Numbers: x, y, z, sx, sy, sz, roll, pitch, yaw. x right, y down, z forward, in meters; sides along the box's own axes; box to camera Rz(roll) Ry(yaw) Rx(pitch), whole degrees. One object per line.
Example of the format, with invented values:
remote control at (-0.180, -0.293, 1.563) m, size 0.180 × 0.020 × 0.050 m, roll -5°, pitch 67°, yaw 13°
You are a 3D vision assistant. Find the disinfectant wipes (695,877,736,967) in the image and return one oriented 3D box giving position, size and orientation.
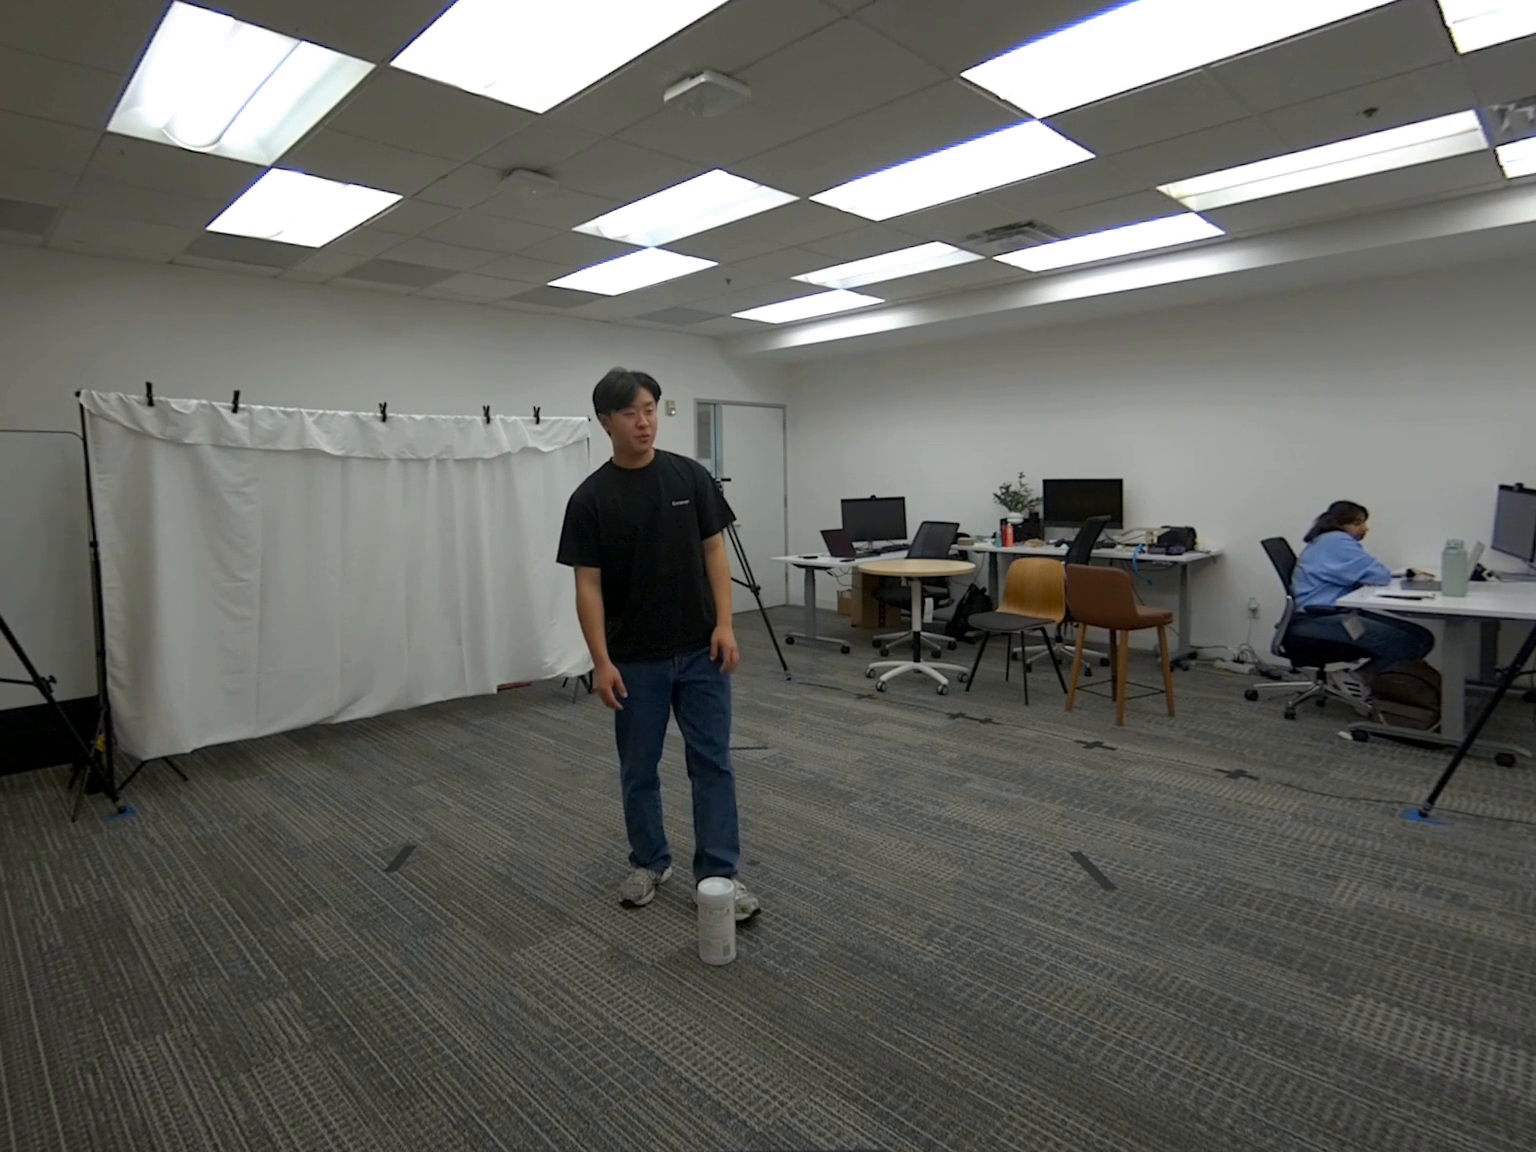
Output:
disinfectant wipes at (-0.144, 1.015, 2.499) m, size 0.118 × 0.216 × 0.118 m, roll -2°, pitch 6°, yaw -1°
